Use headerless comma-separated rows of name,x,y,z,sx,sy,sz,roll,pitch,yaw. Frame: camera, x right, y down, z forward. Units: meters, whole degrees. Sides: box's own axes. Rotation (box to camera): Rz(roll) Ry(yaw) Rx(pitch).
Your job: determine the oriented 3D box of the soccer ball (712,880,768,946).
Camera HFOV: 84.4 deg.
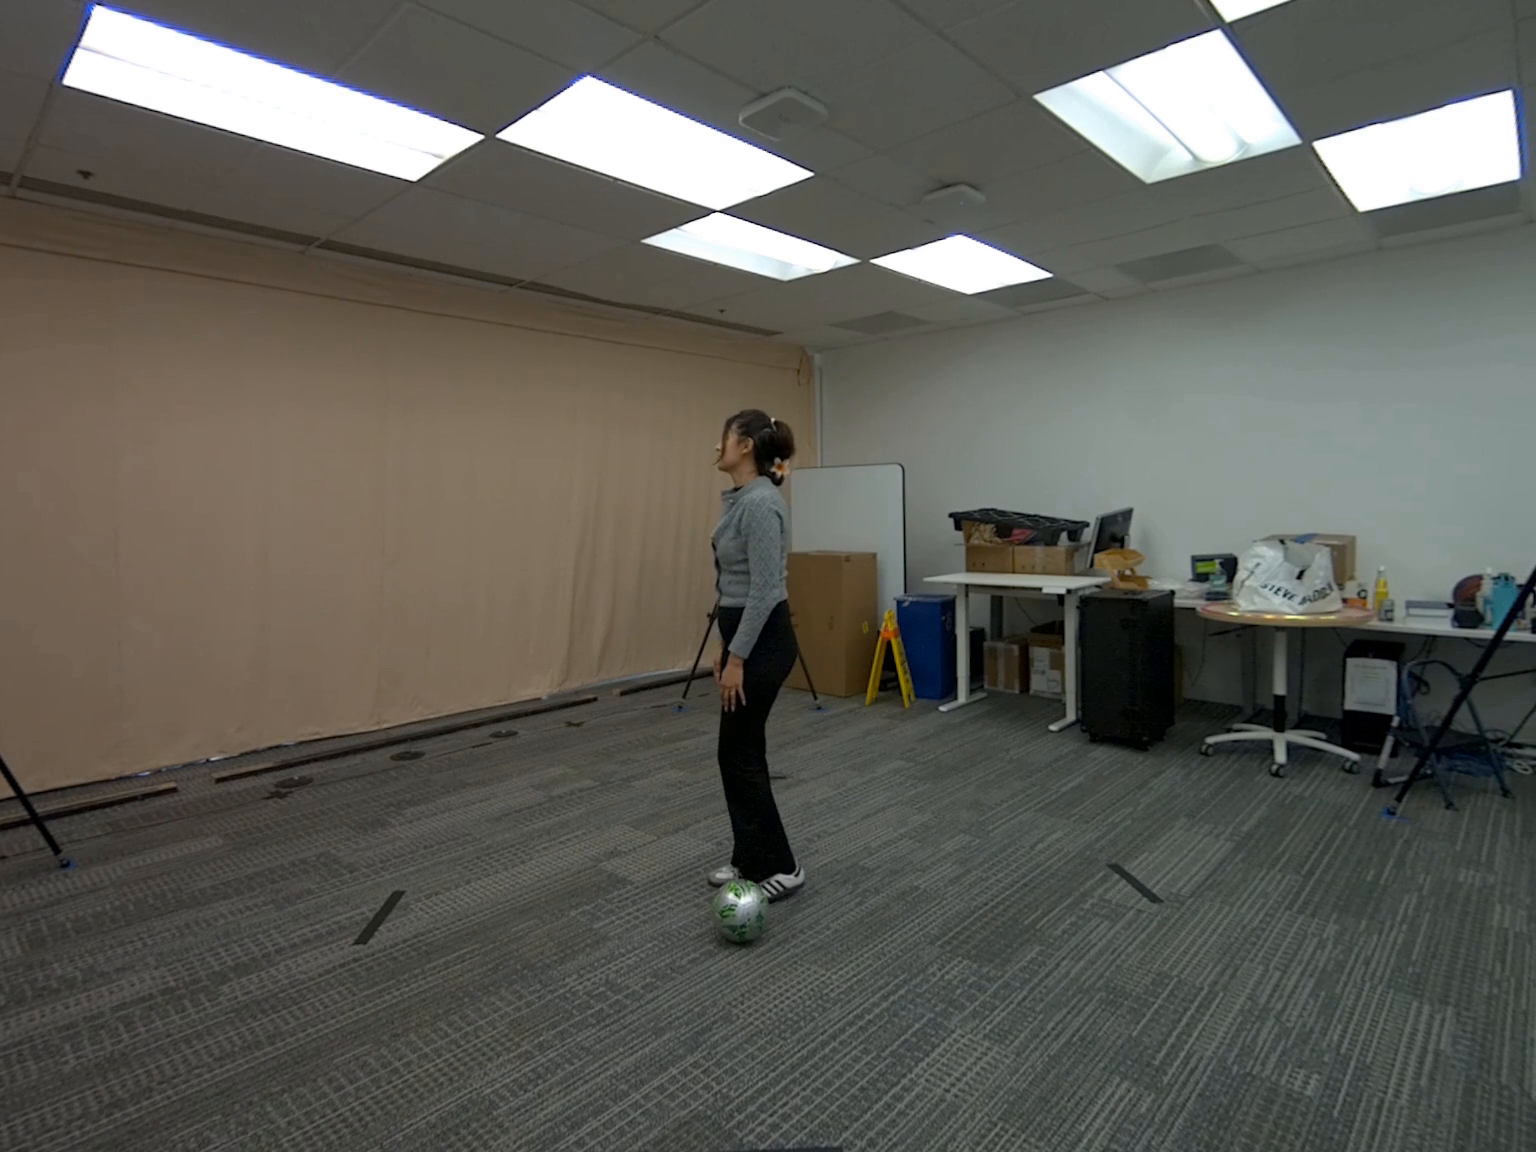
soccer ball,-0.090,1.068,2.704,0.187,0.187,0.188,-1,4,-2
